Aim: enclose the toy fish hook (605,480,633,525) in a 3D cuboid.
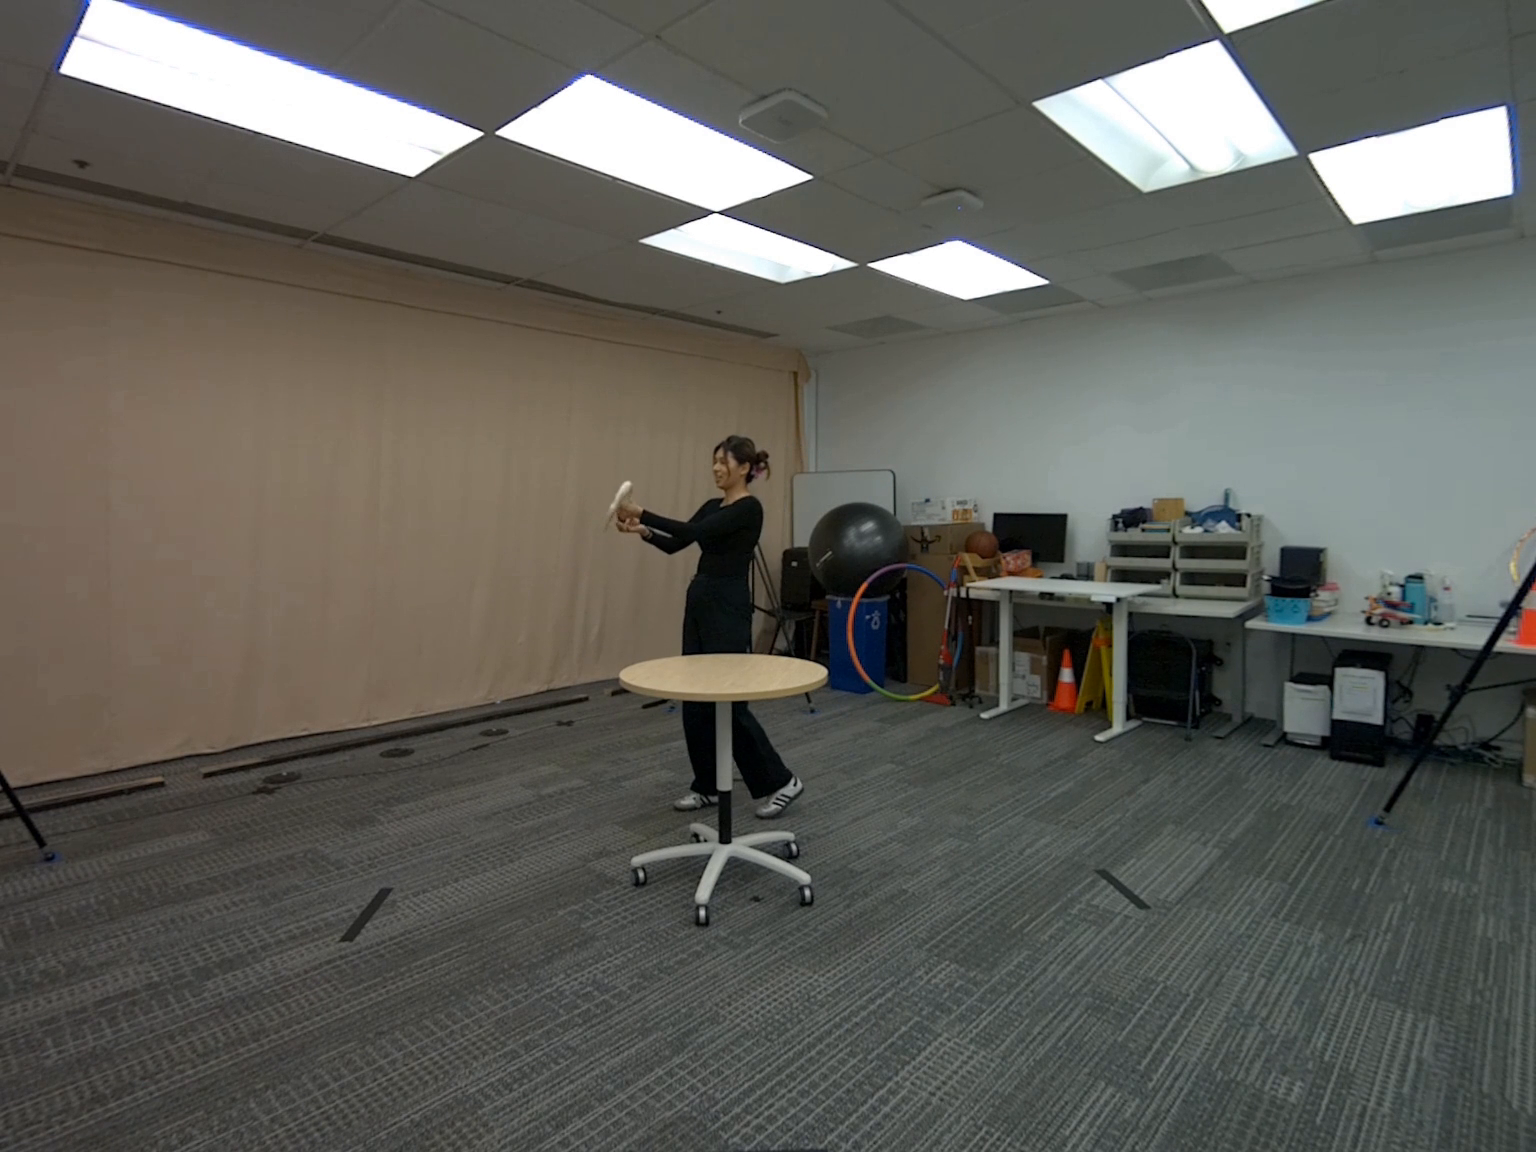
[{"bbox_3d":[-0.636,-0.250,3.531,0.048,0.225,0.505,28,-16,-1],"label":"toy fish hook"}]
